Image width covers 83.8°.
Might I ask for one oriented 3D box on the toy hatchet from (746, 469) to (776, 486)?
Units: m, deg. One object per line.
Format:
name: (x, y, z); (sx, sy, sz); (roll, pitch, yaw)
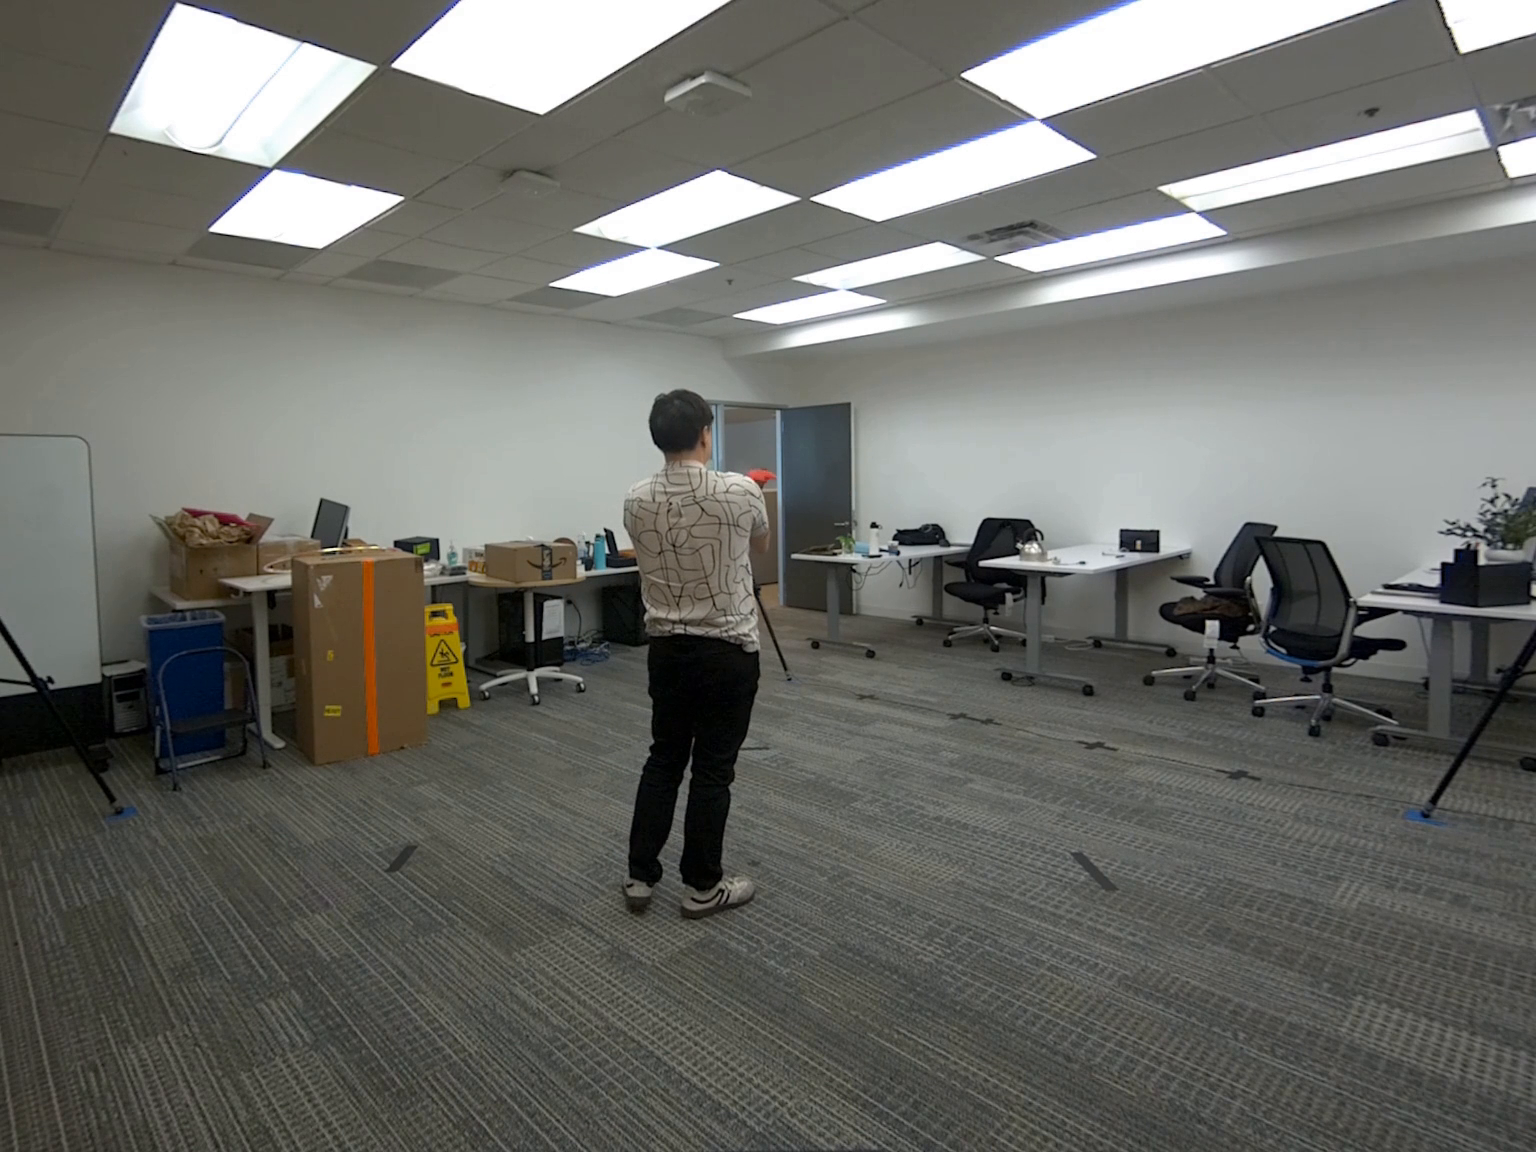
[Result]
toy hatchet: (-0.084, -0.291, 3.209); (0.136, 0.270, 0.028); (34, 1, 35)
